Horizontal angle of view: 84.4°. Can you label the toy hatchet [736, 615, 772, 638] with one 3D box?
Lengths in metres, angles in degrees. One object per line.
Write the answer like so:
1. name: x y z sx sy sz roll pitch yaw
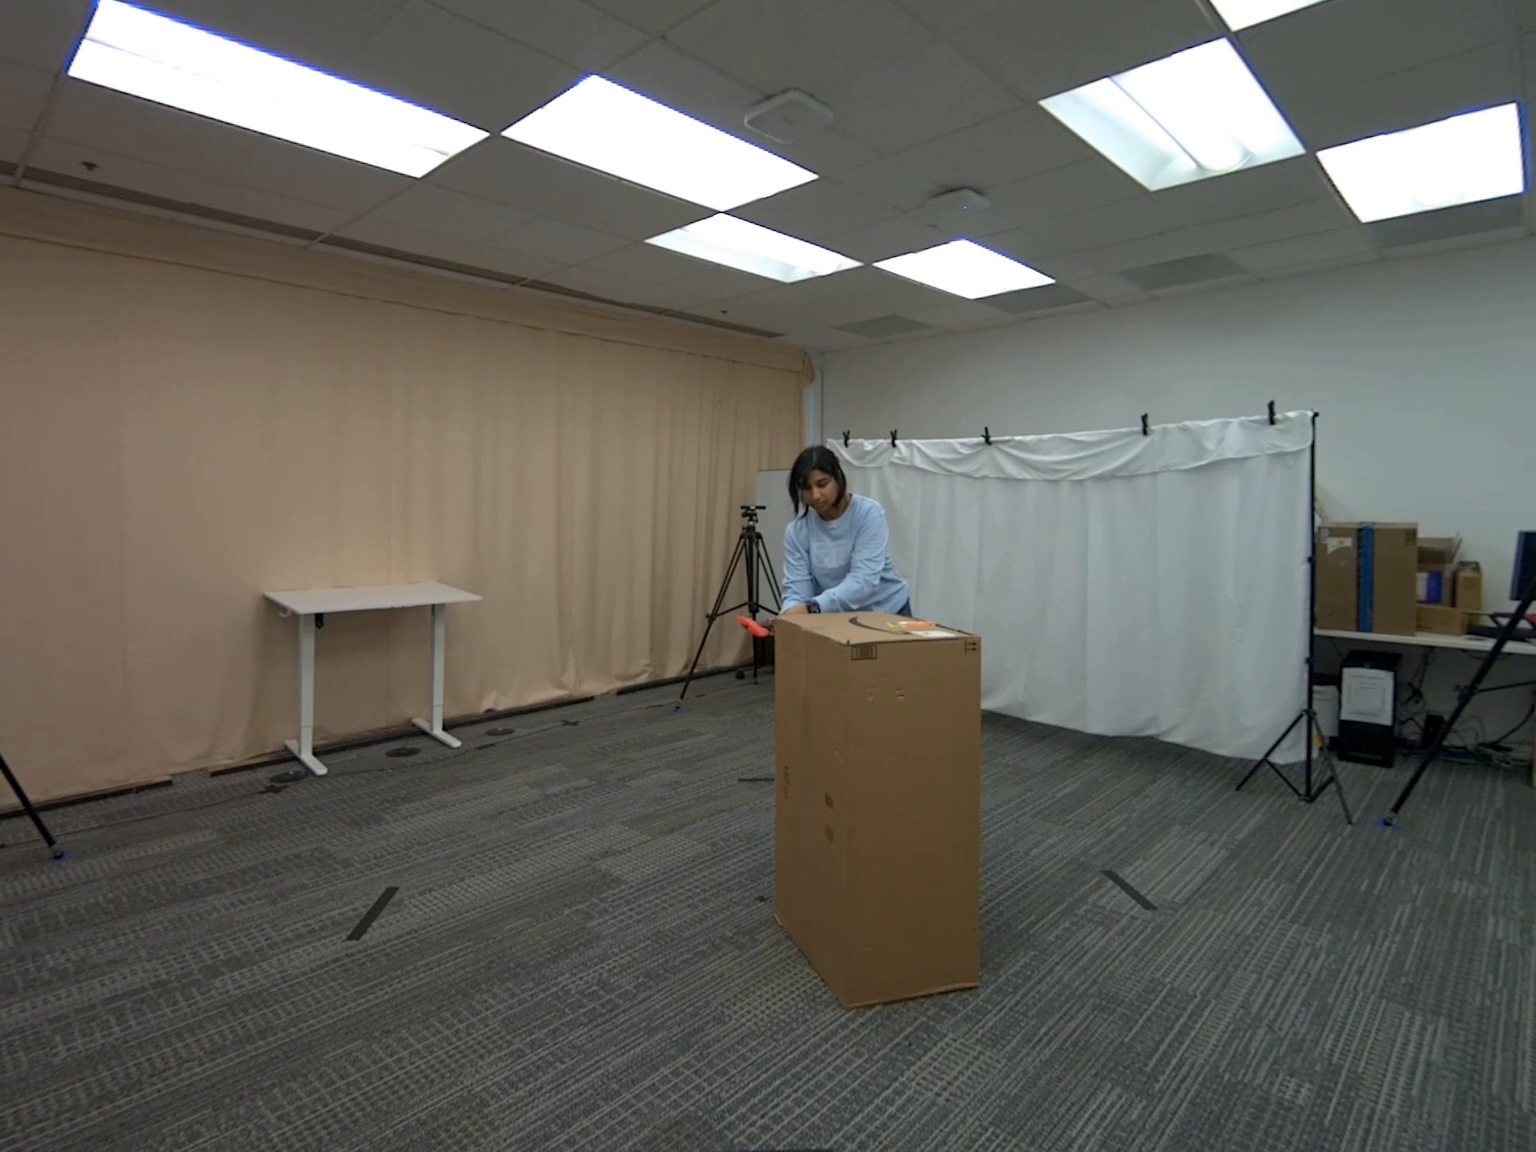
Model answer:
1. toy hatchet: 0.032 0.189 2.940 0.262 0.029 0.135 12 18 -30
